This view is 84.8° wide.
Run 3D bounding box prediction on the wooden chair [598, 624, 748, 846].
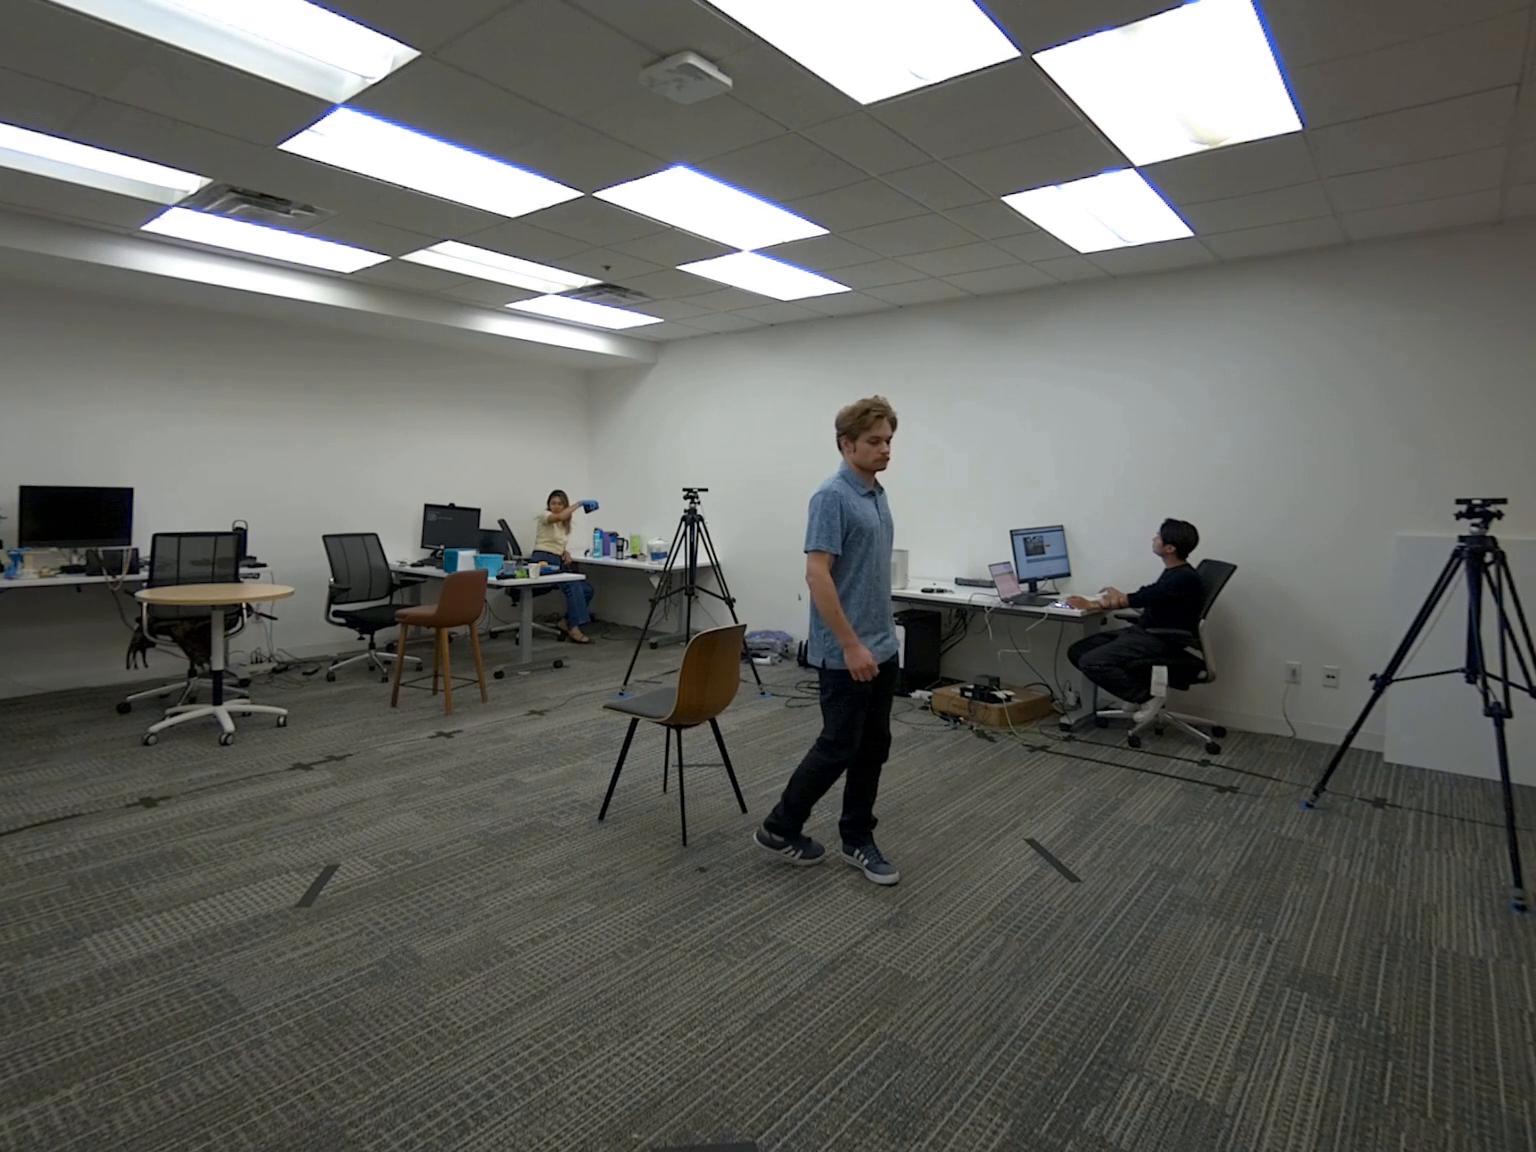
[{"bbox_3d":[-0.410,0.591,3.586,0.540,0.873,0.465,9,7,32],"label":"wooden chair"}]
